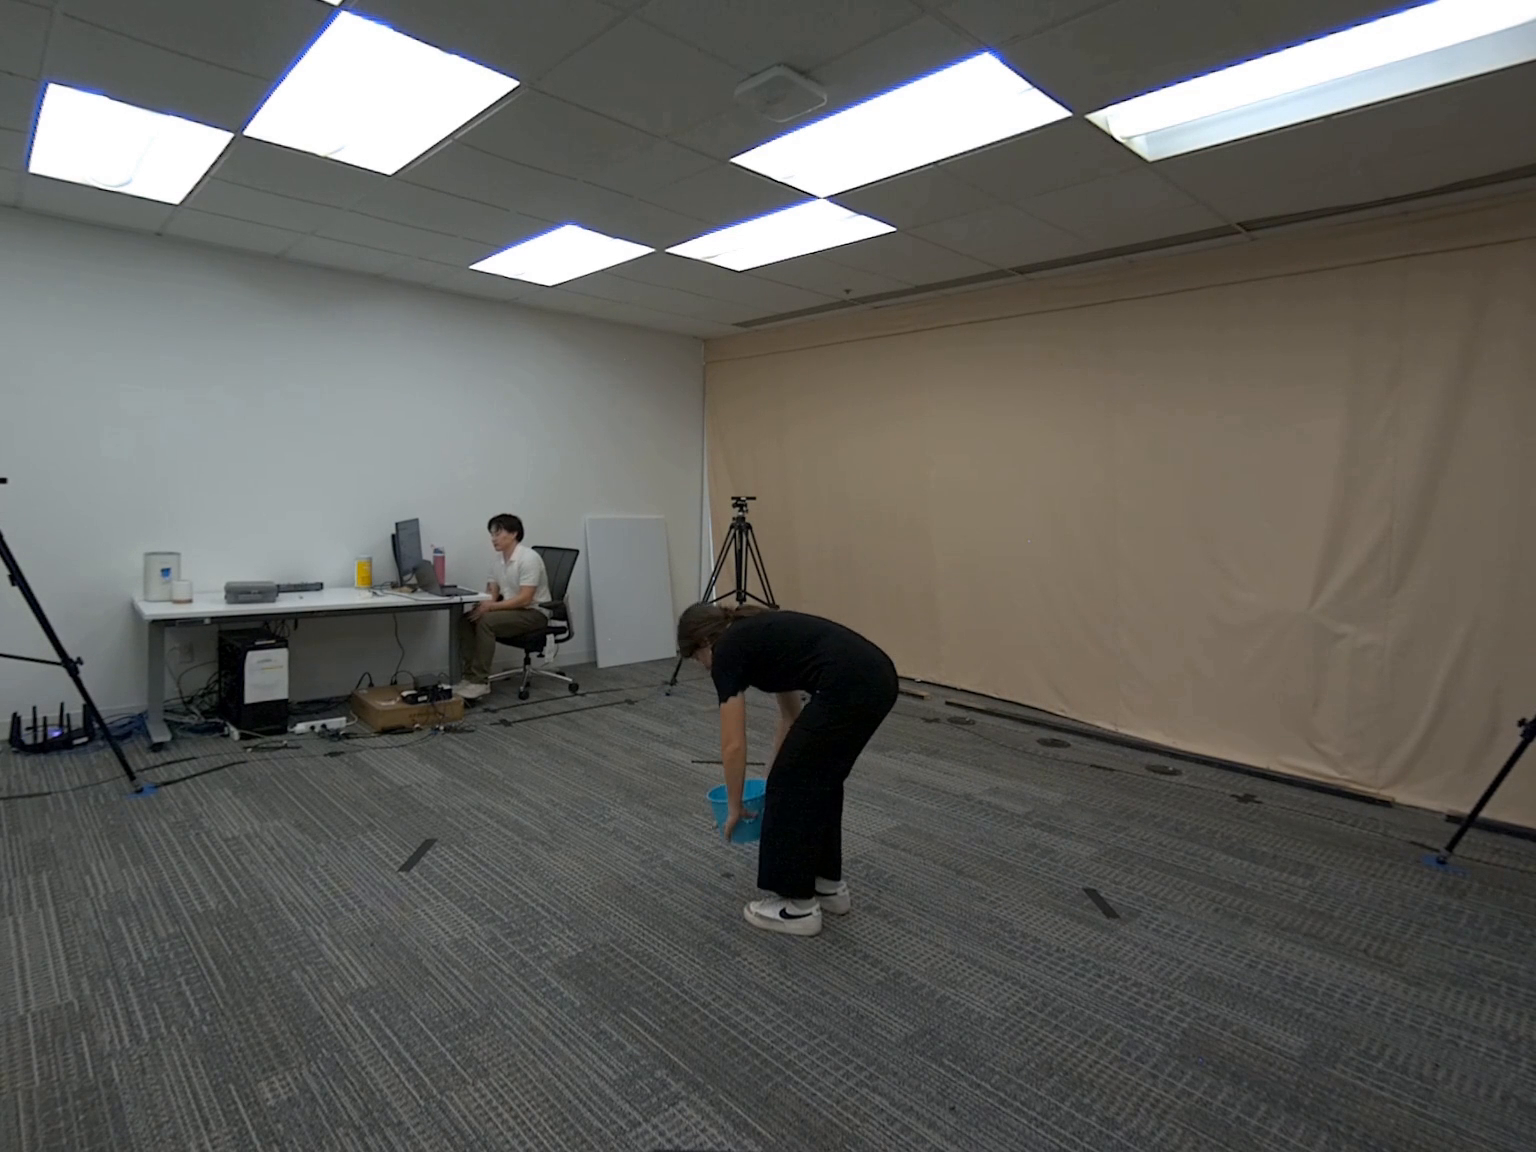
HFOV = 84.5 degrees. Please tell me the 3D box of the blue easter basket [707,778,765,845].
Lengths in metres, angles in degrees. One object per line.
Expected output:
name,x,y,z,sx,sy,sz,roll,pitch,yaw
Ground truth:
blue easter basket,-0.087,0.814,2.903,0.243,0.155,0.244,-6,5,-1
